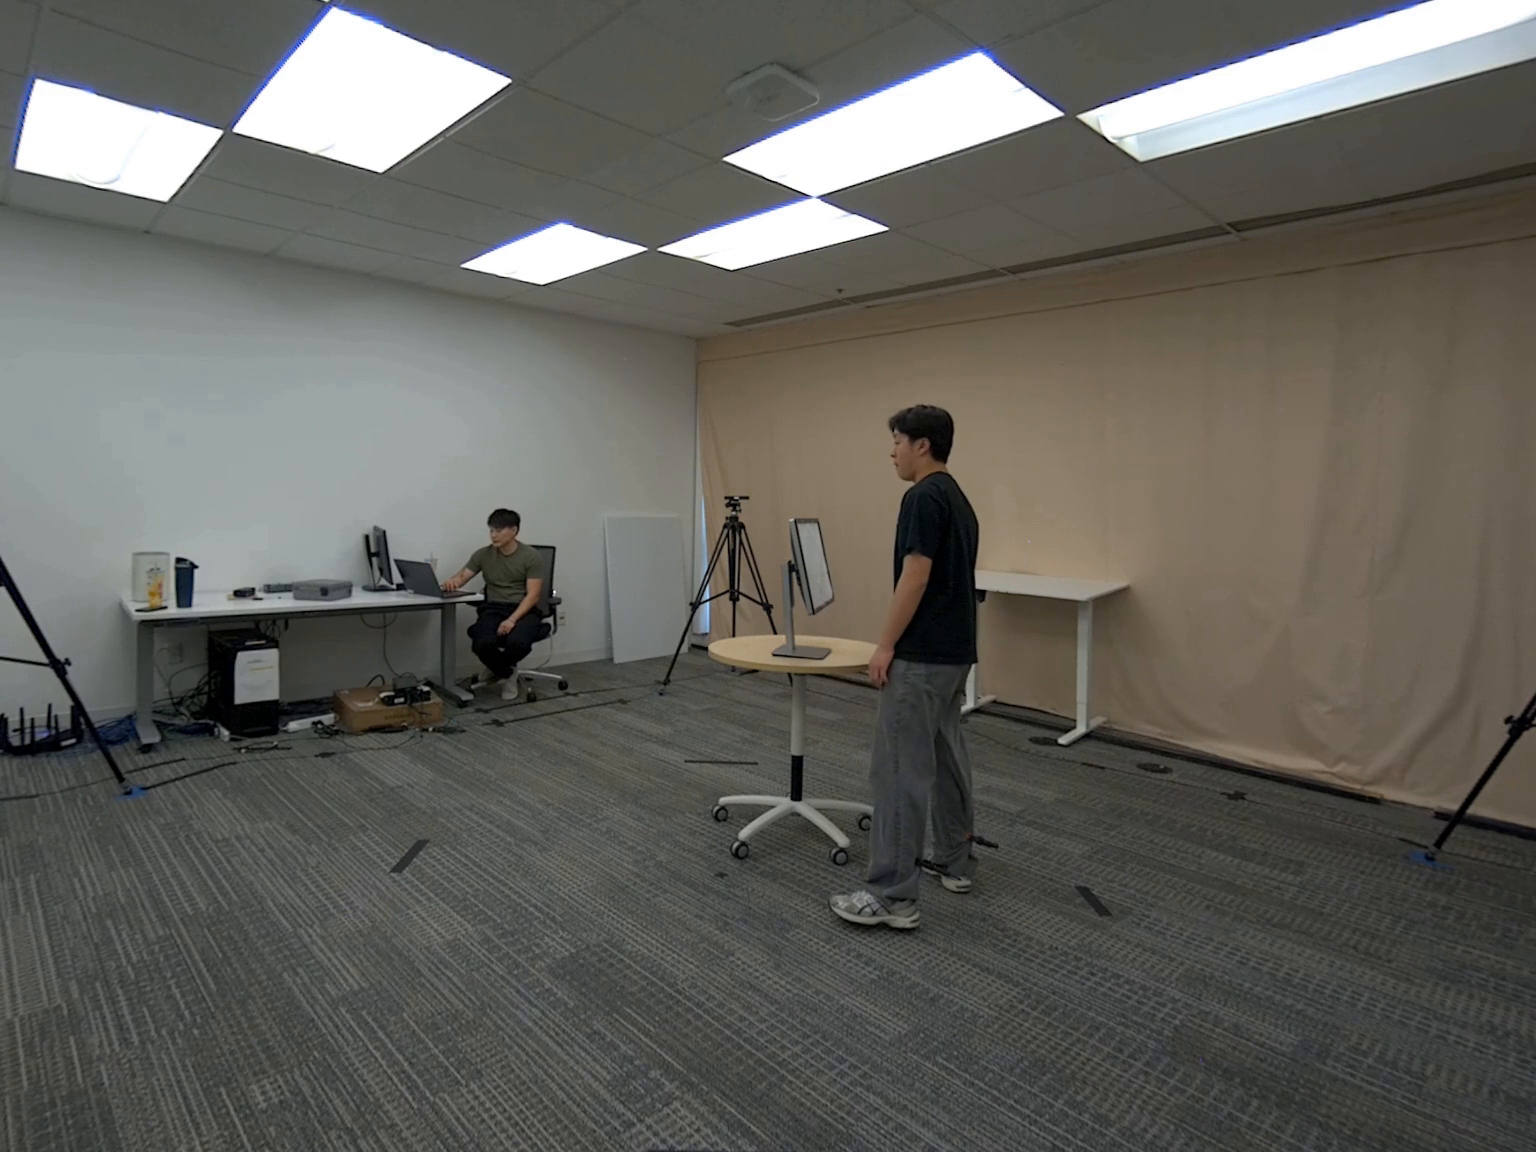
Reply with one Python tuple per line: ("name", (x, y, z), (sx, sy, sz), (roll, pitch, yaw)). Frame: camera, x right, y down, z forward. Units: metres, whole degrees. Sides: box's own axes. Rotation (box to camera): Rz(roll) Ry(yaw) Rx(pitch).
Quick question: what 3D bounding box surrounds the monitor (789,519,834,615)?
("monitor", (0.149, 0.052, 3.384), (0.225, 0.564, 0.555), (4, 4, 16))
